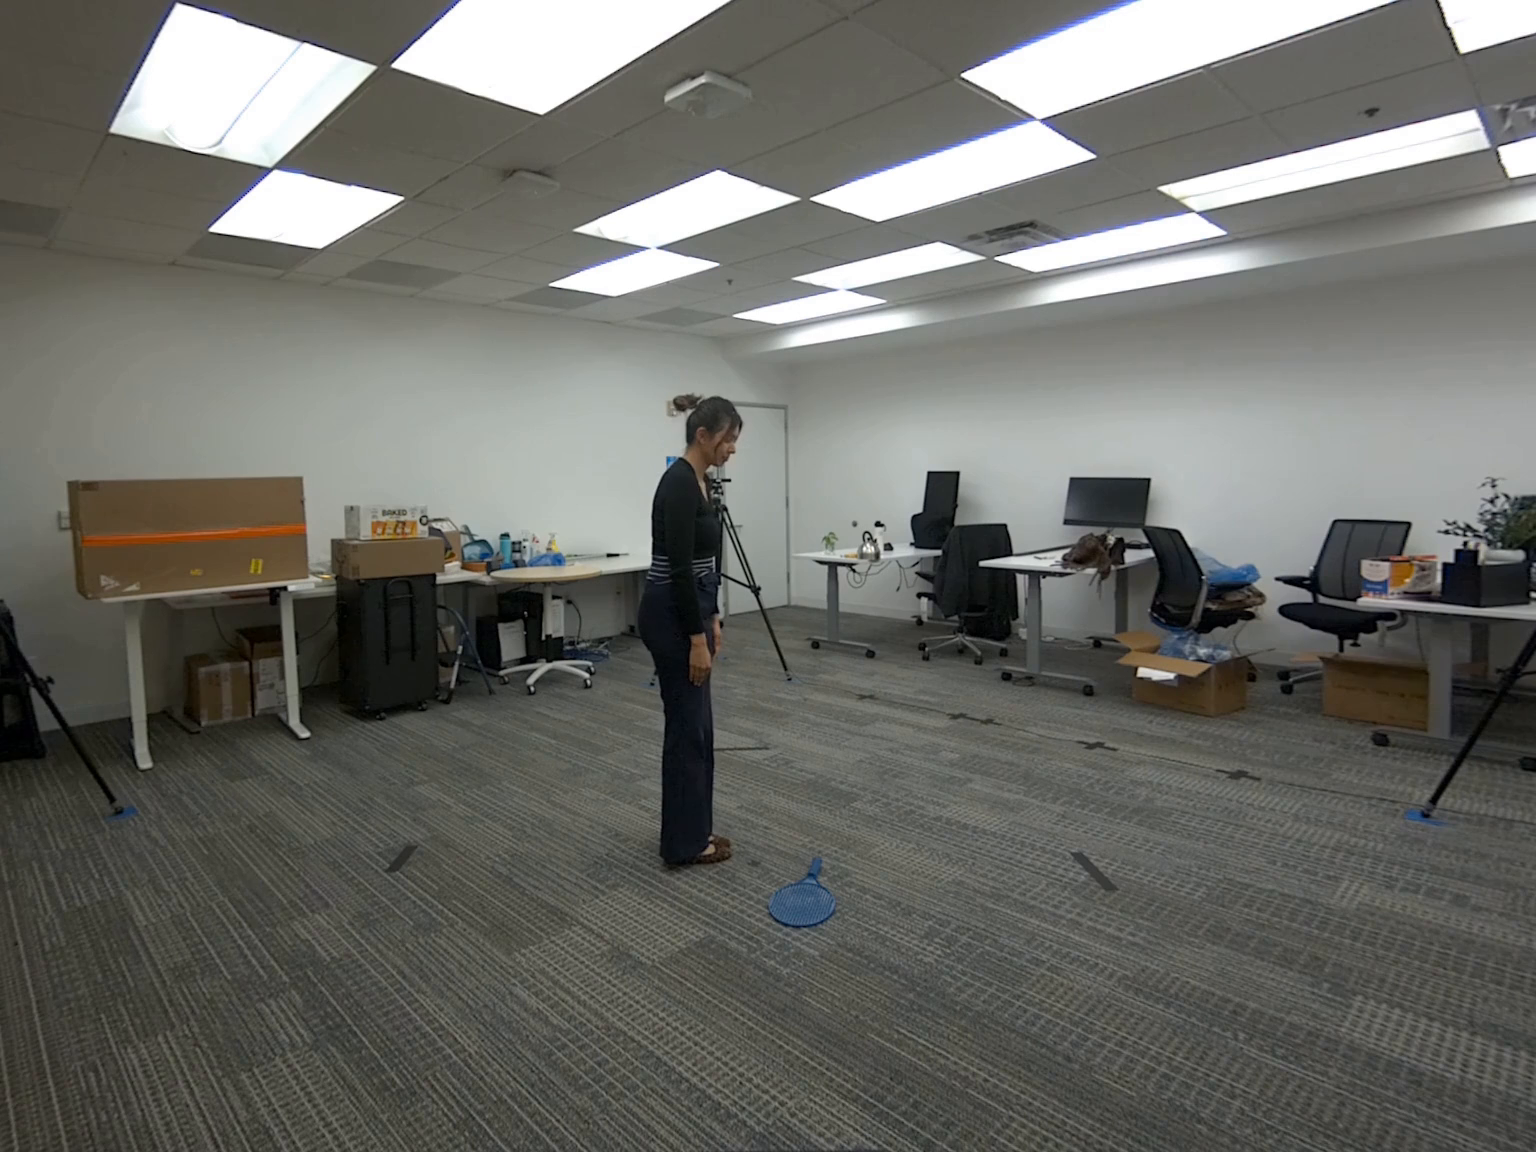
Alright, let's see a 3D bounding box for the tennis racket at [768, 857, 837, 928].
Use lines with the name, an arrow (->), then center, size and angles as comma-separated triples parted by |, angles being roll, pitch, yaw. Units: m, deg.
tennis racket -> 0.129, 1.055, 2.863 | 0.217, 0.031, 0.430 | 0, 8, 13
